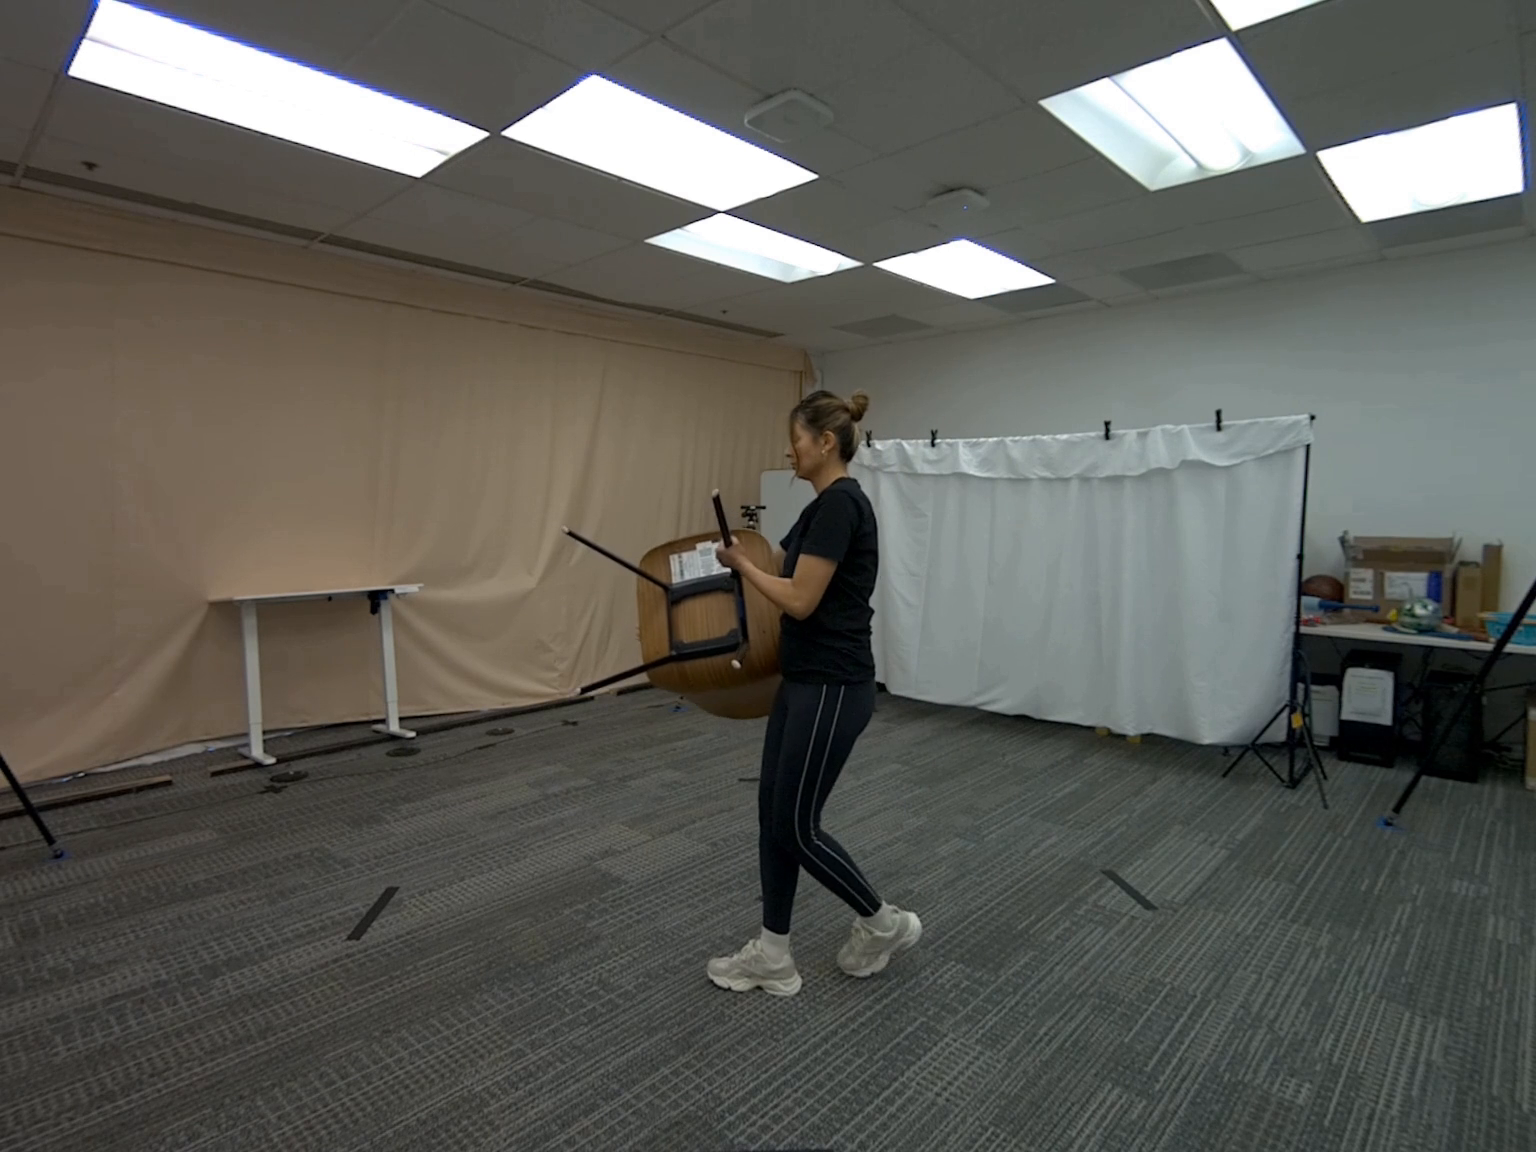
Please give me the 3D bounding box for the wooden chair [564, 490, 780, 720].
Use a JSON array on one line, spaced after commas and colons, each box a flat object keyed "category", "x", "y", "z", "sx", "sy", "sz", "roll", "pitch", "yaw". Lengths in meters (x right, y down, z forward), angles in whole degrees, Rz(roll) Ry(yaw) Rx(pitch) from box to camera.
[{"category": "wooden chair", "x": -0.192, "y": 0.126, "z": 2.534, "sx": 0.485, "sy": 0.531, "sz": 0.852, "roll": -13, "pitch": -20, "yaw": 15}]
